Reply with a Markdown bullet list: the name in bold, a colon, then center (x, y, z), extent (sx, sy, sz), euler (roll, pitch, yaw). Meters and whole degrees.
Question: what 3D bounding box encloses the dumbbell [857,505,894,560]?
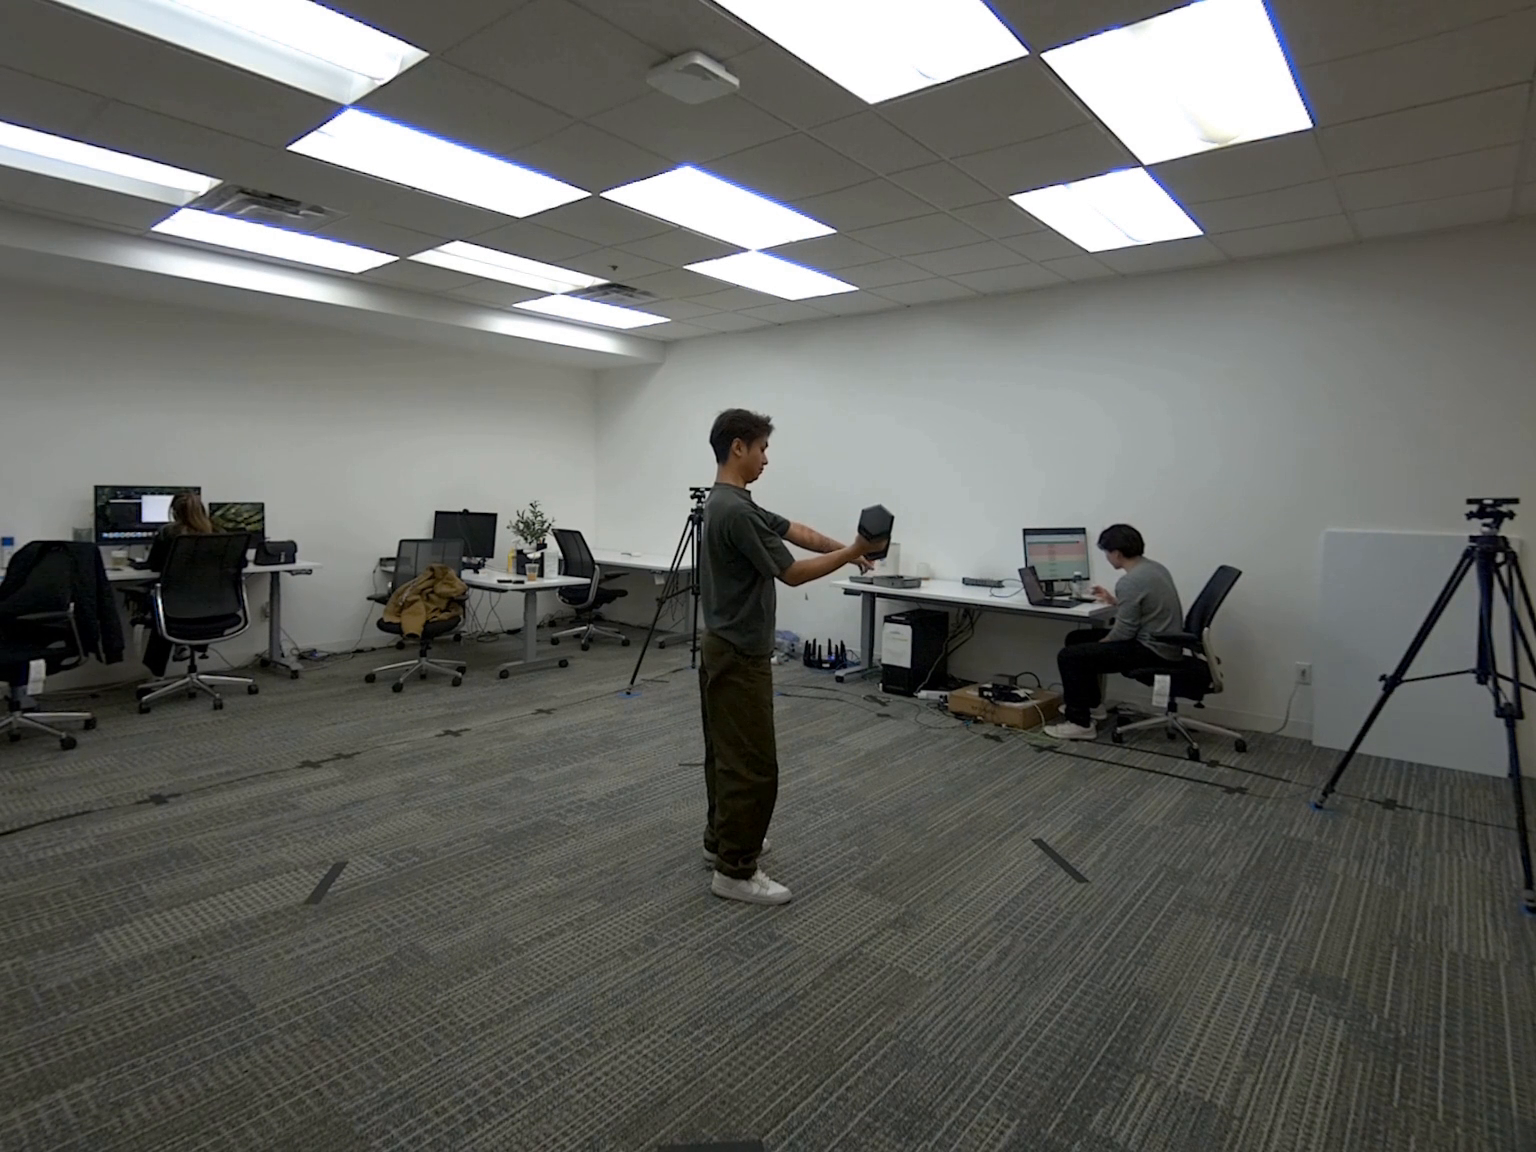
- **dumbbell**: center (0.347, -0.151, 2.859), extent (0.110, 0.124, 0.287), euler (14, -13, 8)
